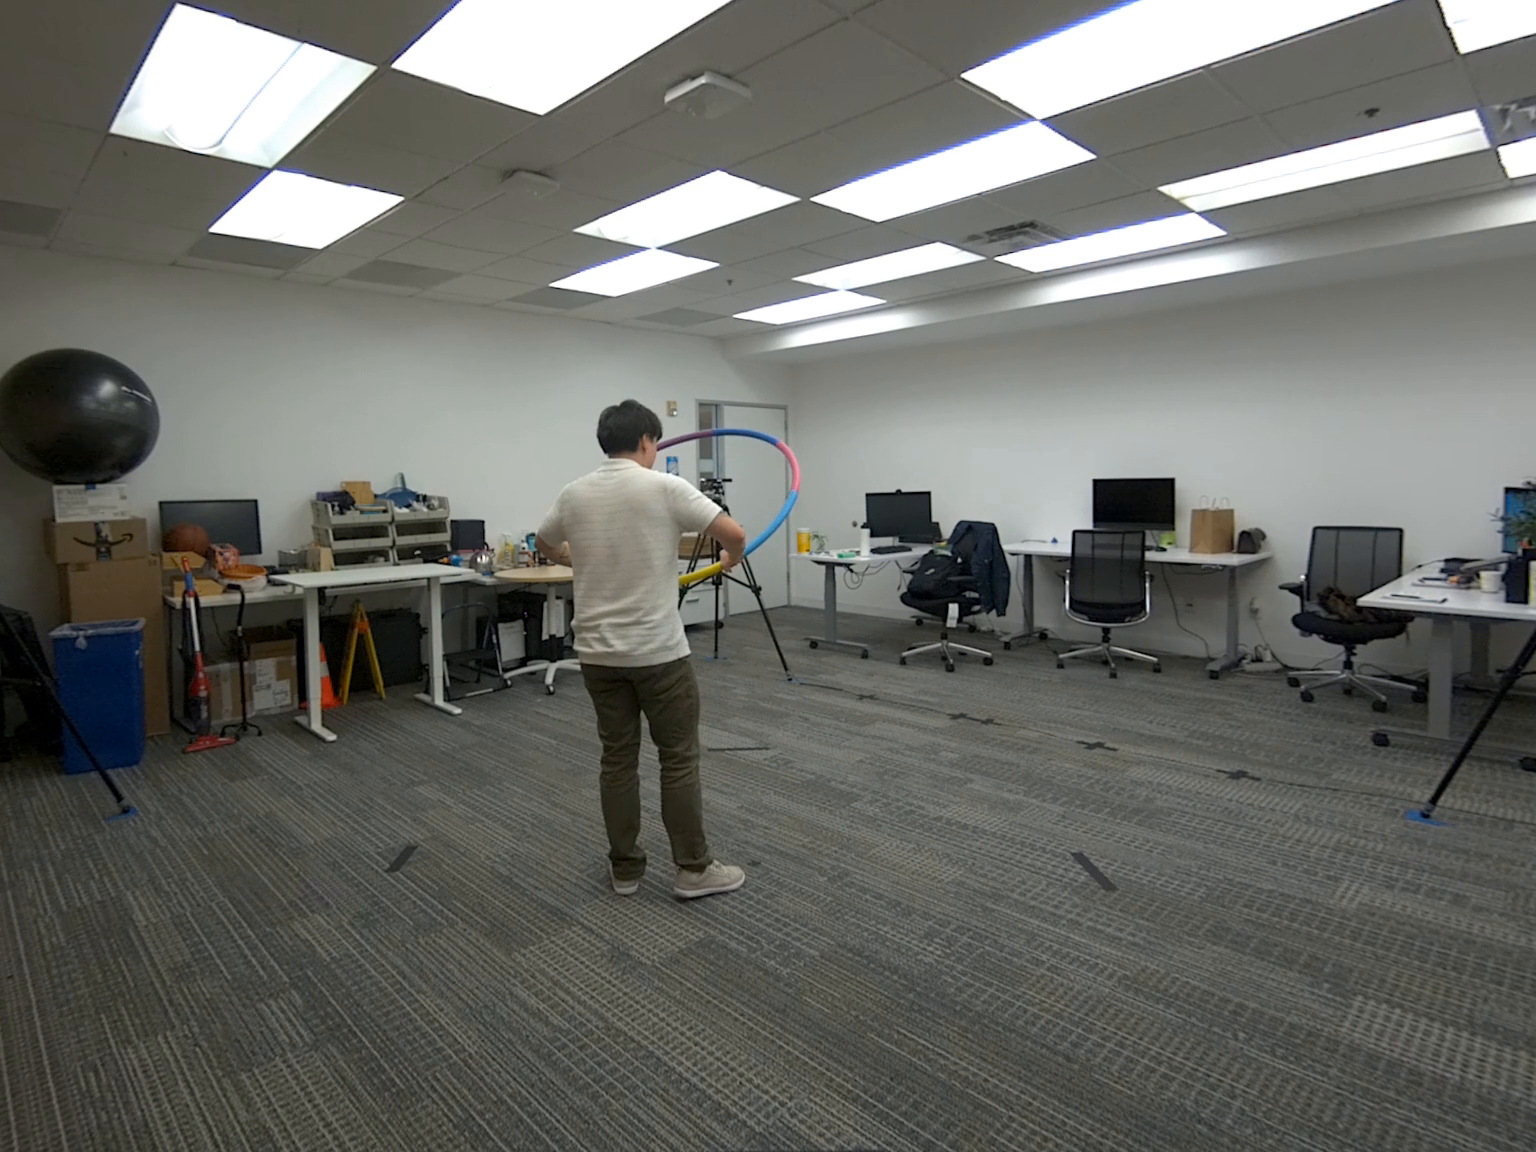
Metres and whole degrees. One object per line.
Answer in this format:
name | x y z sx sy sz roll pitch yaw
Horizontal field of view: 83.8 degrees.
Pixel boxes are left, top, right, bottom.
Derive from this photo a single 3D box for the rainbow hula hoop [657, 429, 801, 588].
rainbow hula hoop | -0.337 -0.307 3.502 0.986 0.034 1.006 -15 40 11
